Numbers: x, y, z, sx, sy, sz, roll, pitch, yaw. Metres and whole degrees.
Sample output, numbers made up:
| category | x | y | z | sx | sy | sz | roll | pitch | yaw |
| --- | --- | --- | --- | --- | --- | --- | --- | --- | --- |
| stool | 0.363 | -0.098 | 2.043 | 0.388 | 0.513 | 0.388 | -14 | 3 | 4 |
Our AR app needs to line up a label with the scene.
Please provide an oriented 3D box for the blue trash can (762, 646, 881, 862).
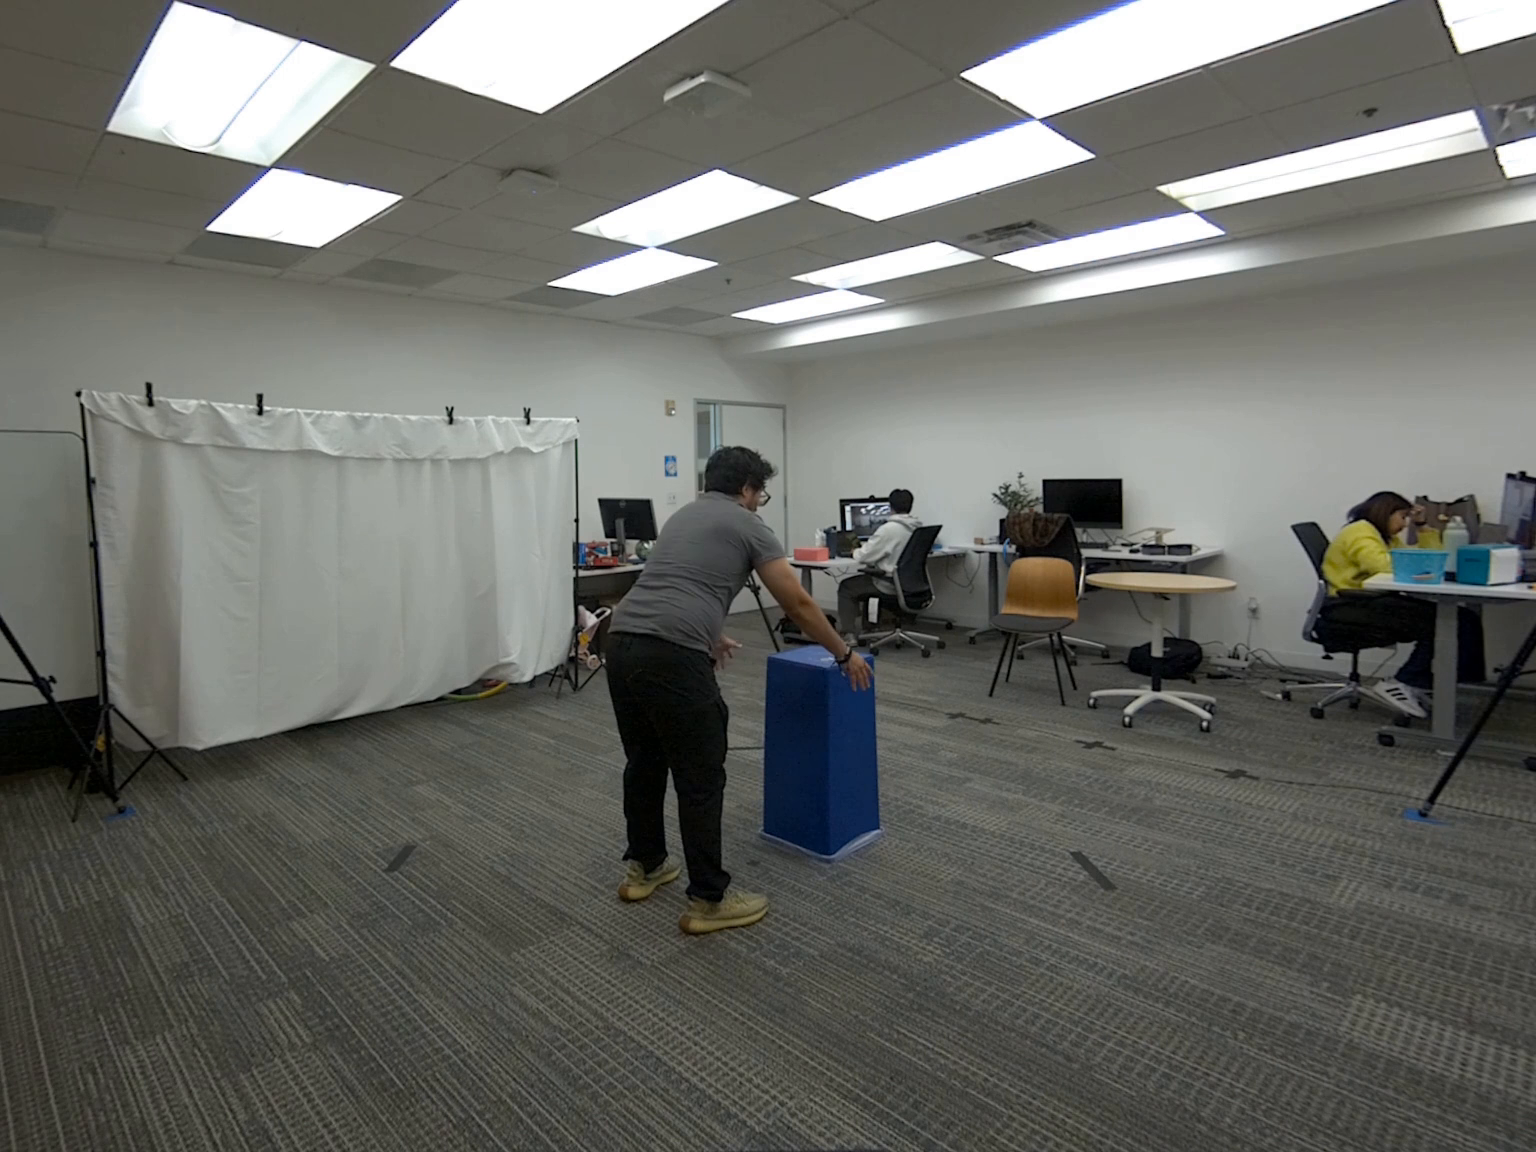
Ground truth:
| category | x | y | z | sx | sy | sz | roll | pitch | yaw |
| --- | --- | --- | --- | --- | --- | --- | --- | --- | --- |
| blue trash can | 0.212 | 0.660 | 3.308 | 0.386 | 0.710 | 0.368 | 4 | 7 | 44 |
